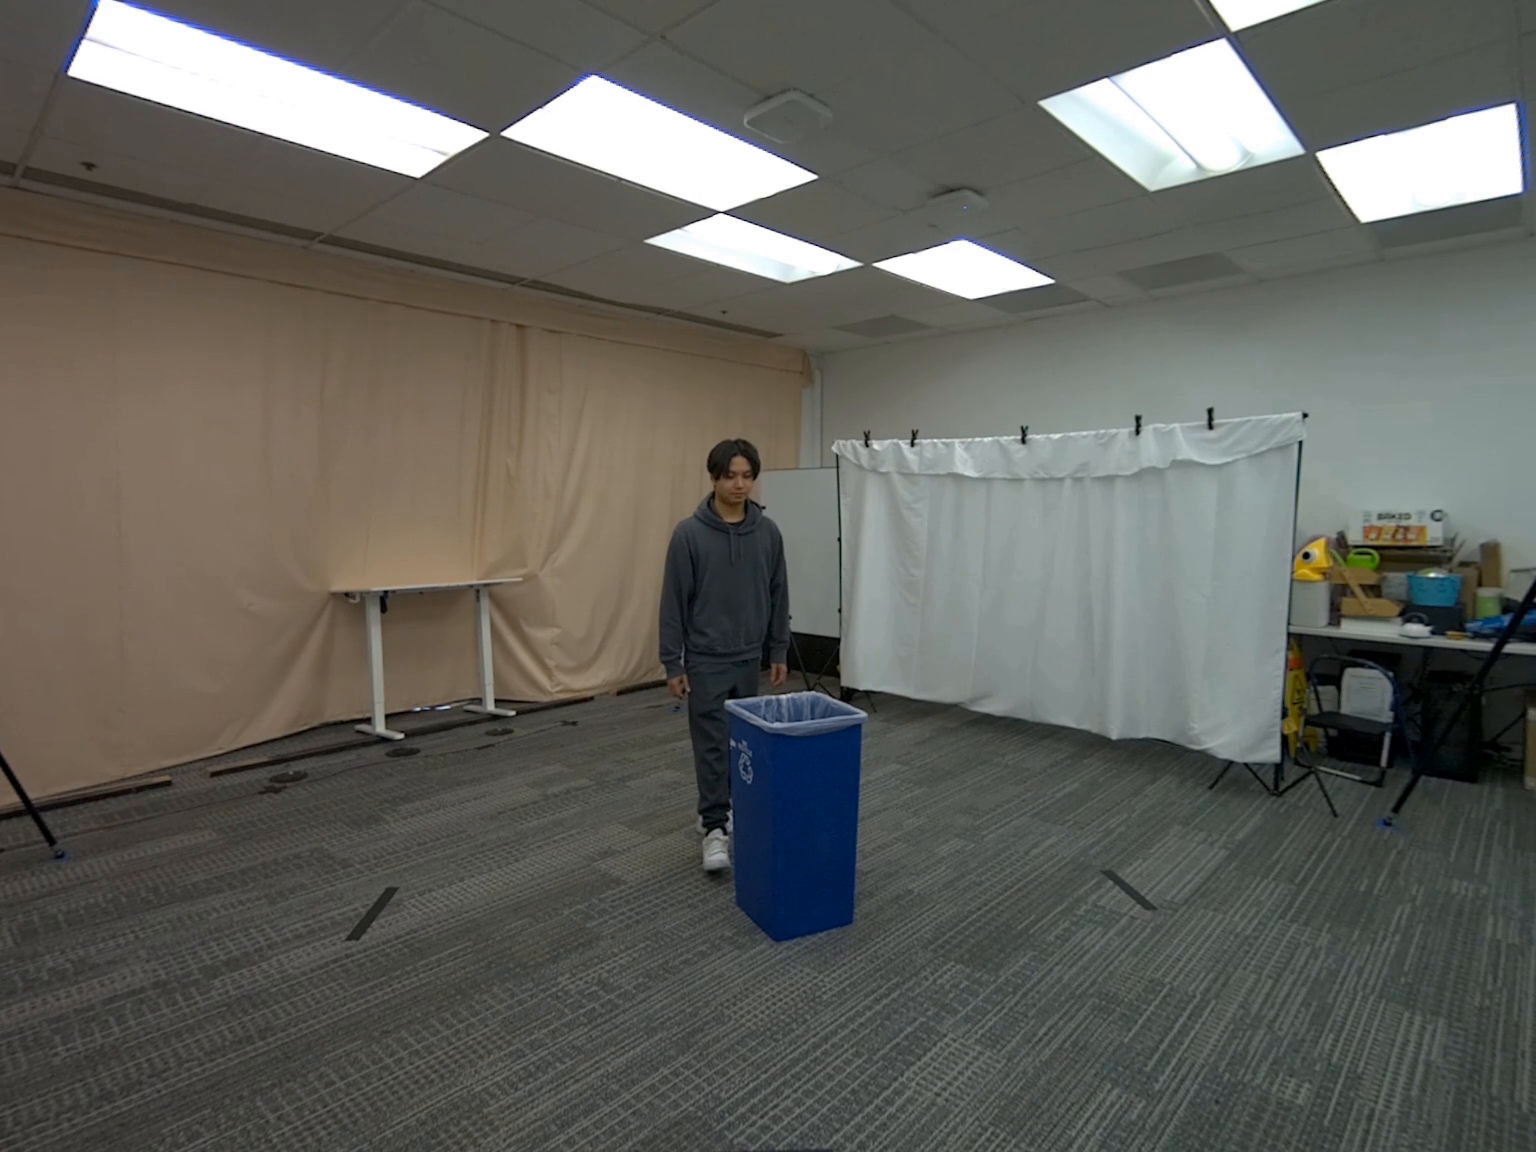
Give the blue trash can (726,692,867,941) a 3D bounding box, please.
[{"bbox_3d":[0.097,0.797,2.855,0.369,0.712,0.384,-3,4,-26],"label":"blue trash can"}]
